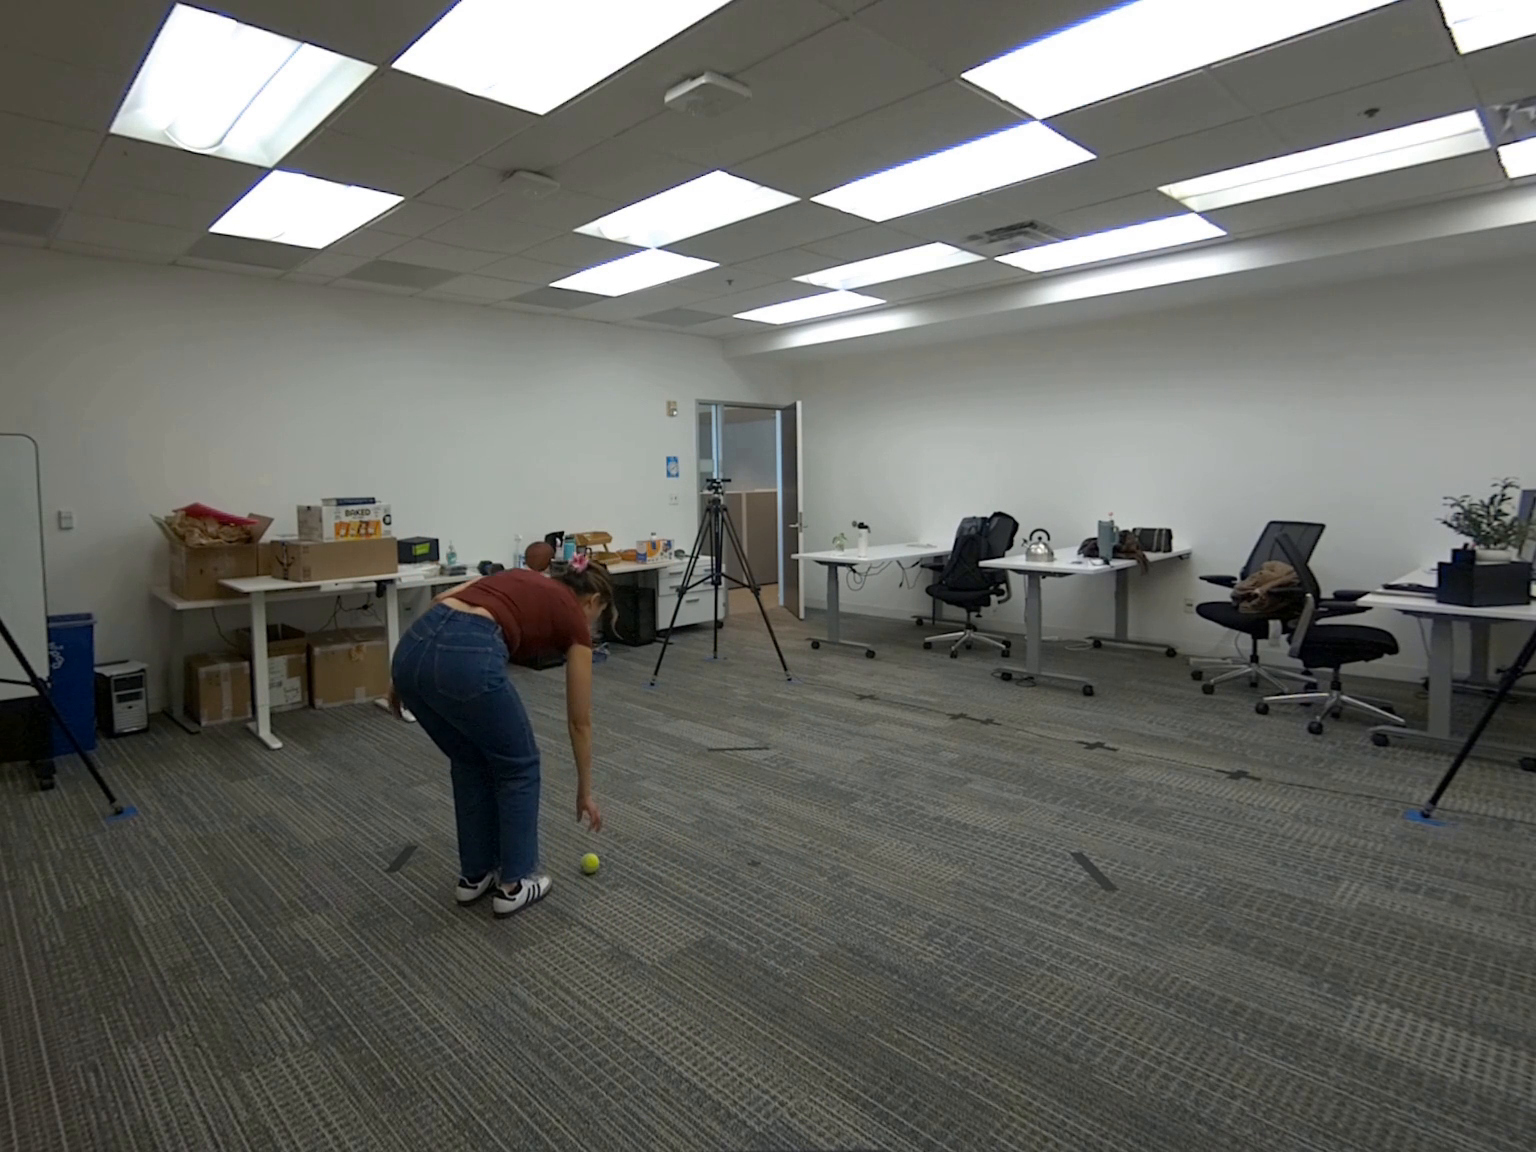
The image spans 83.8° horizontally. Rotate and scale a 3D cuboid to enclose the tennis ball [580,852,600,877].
[{"bbox_3d":[-0.625,1.019,3.045,0.066,0.066,0.067,-1,5,-2],"label":"tennis ball"}]
